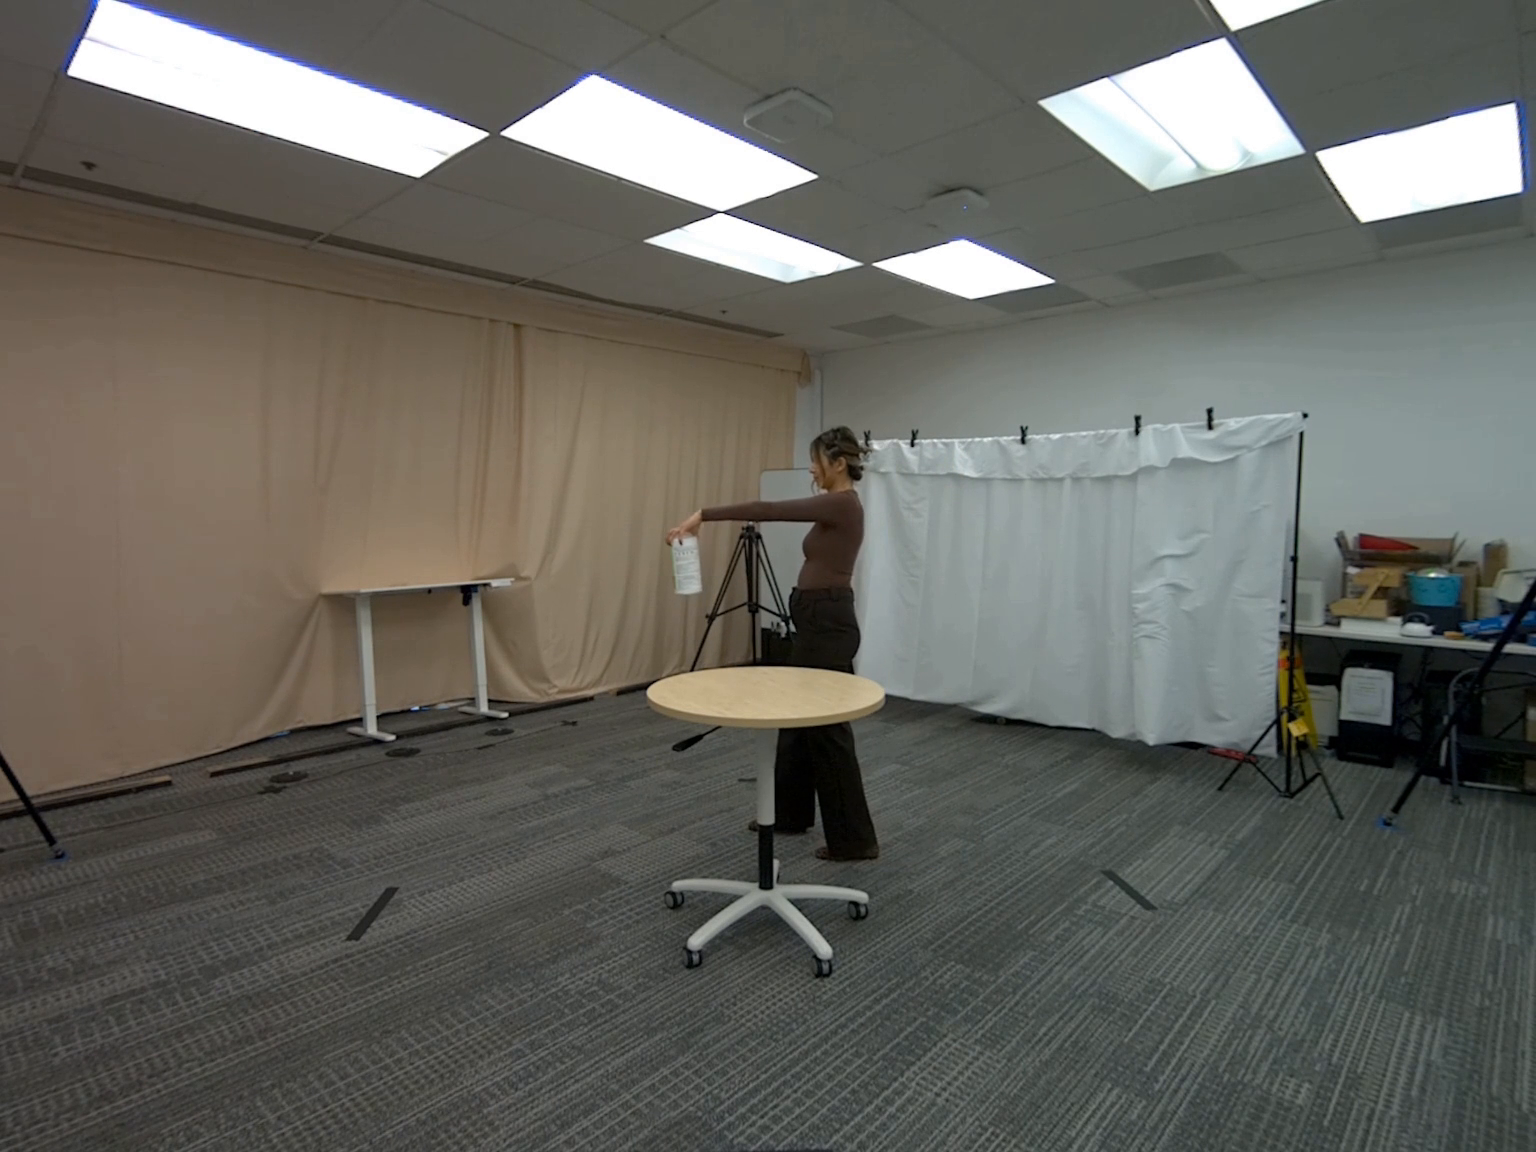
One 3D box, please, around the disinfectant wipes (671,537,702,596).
[{"bbox_3d":[-0.318,-0.043,3.217,0.118,0.216,0.118,-3,6,-1],"label":"disinfectant wipes"}]
